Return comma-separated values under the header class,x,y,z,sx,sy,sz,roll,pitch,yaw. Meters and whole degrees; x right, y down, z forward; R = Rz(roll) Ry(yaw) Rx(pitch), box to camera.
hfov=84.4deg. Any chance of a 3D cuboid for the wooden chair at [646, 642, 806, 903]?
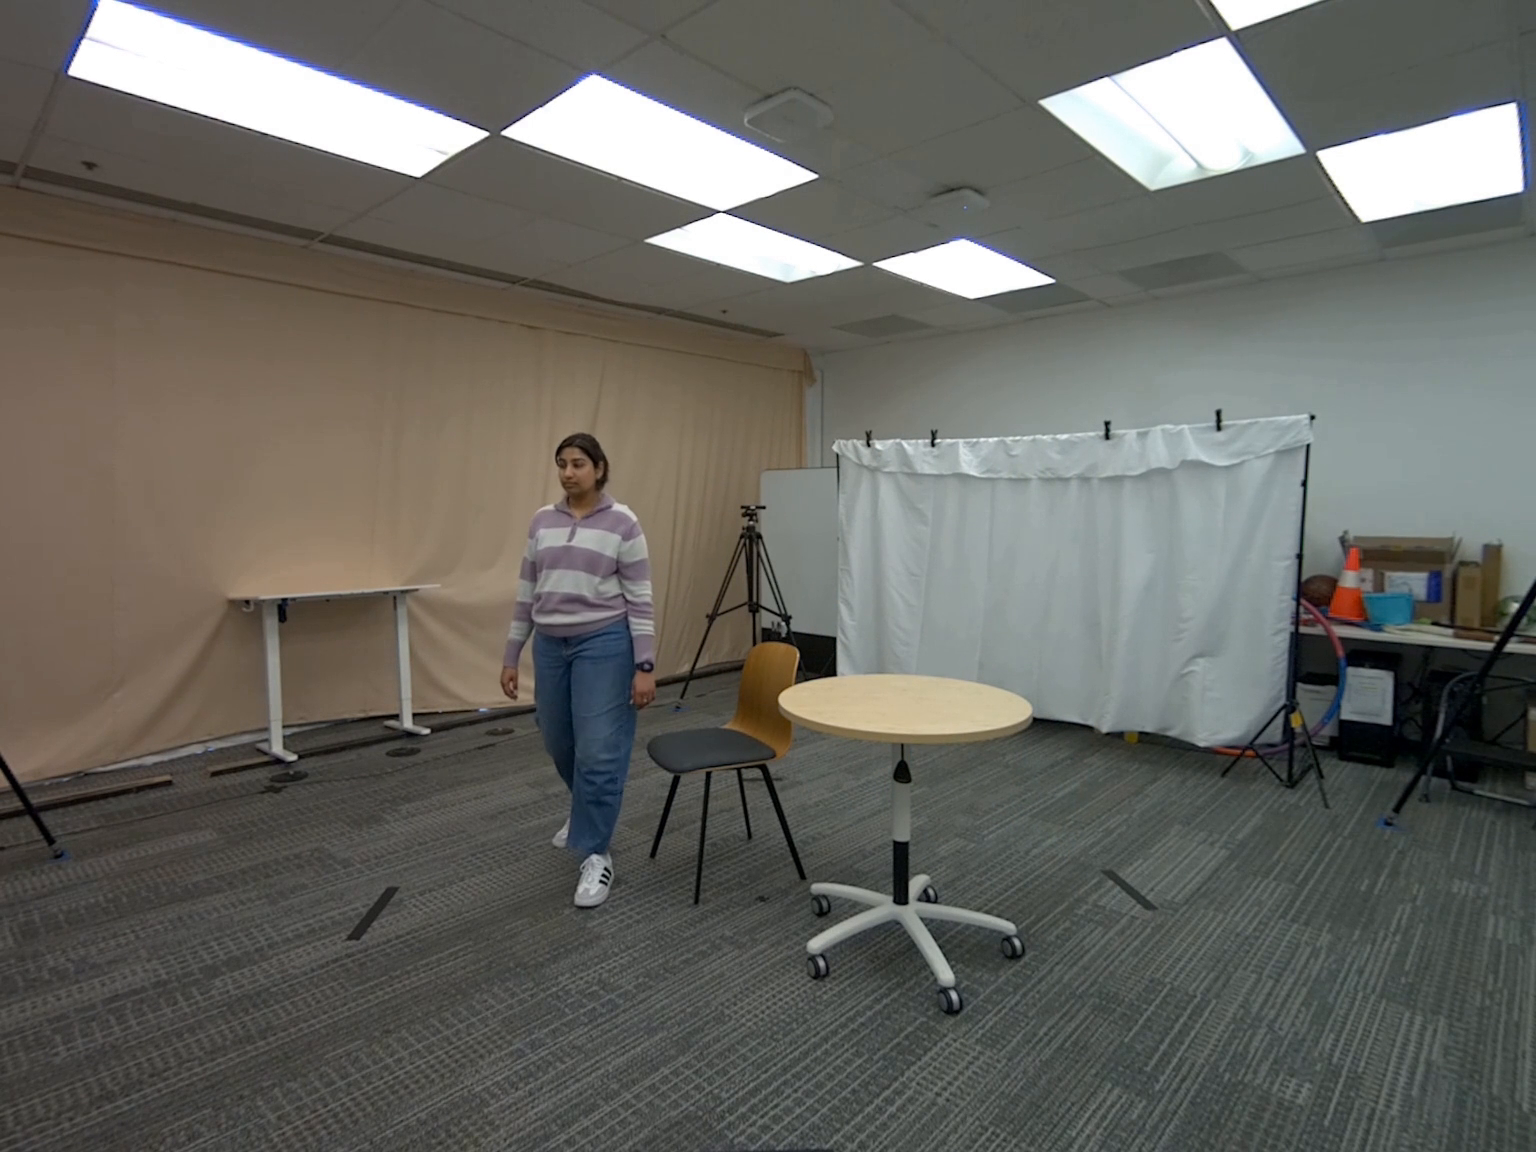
class,x,y,z,sx,sy,sz,roll,pitch,yaw
wooden chair,-0.170,0.698,3.200,0.509,0.876,0.491,2,2,-27
